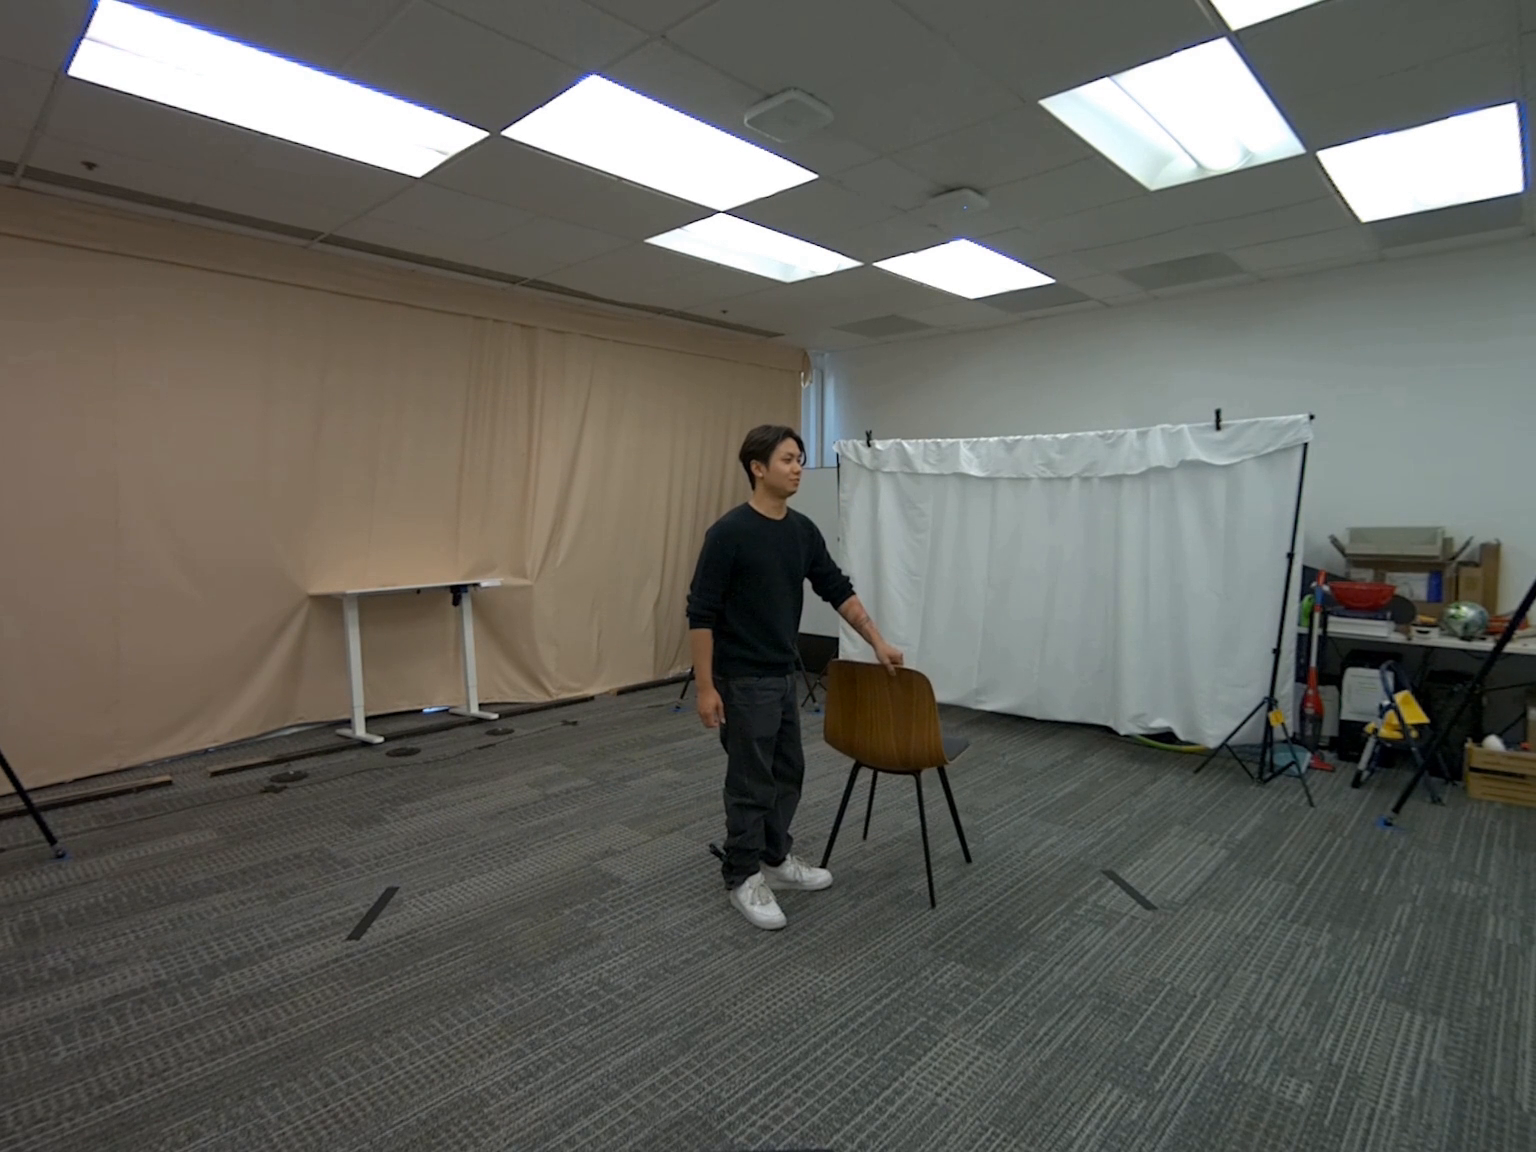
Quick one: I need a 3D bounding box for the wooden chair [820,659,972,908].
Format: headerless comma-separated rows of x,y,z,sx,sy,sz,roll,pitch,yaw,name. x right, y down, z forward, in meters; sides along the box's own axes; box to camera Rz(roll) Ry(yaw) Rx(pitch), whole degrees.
0.494,0.698,3.191,0.492,0.873,0.510,2,8,30,wooden chair
